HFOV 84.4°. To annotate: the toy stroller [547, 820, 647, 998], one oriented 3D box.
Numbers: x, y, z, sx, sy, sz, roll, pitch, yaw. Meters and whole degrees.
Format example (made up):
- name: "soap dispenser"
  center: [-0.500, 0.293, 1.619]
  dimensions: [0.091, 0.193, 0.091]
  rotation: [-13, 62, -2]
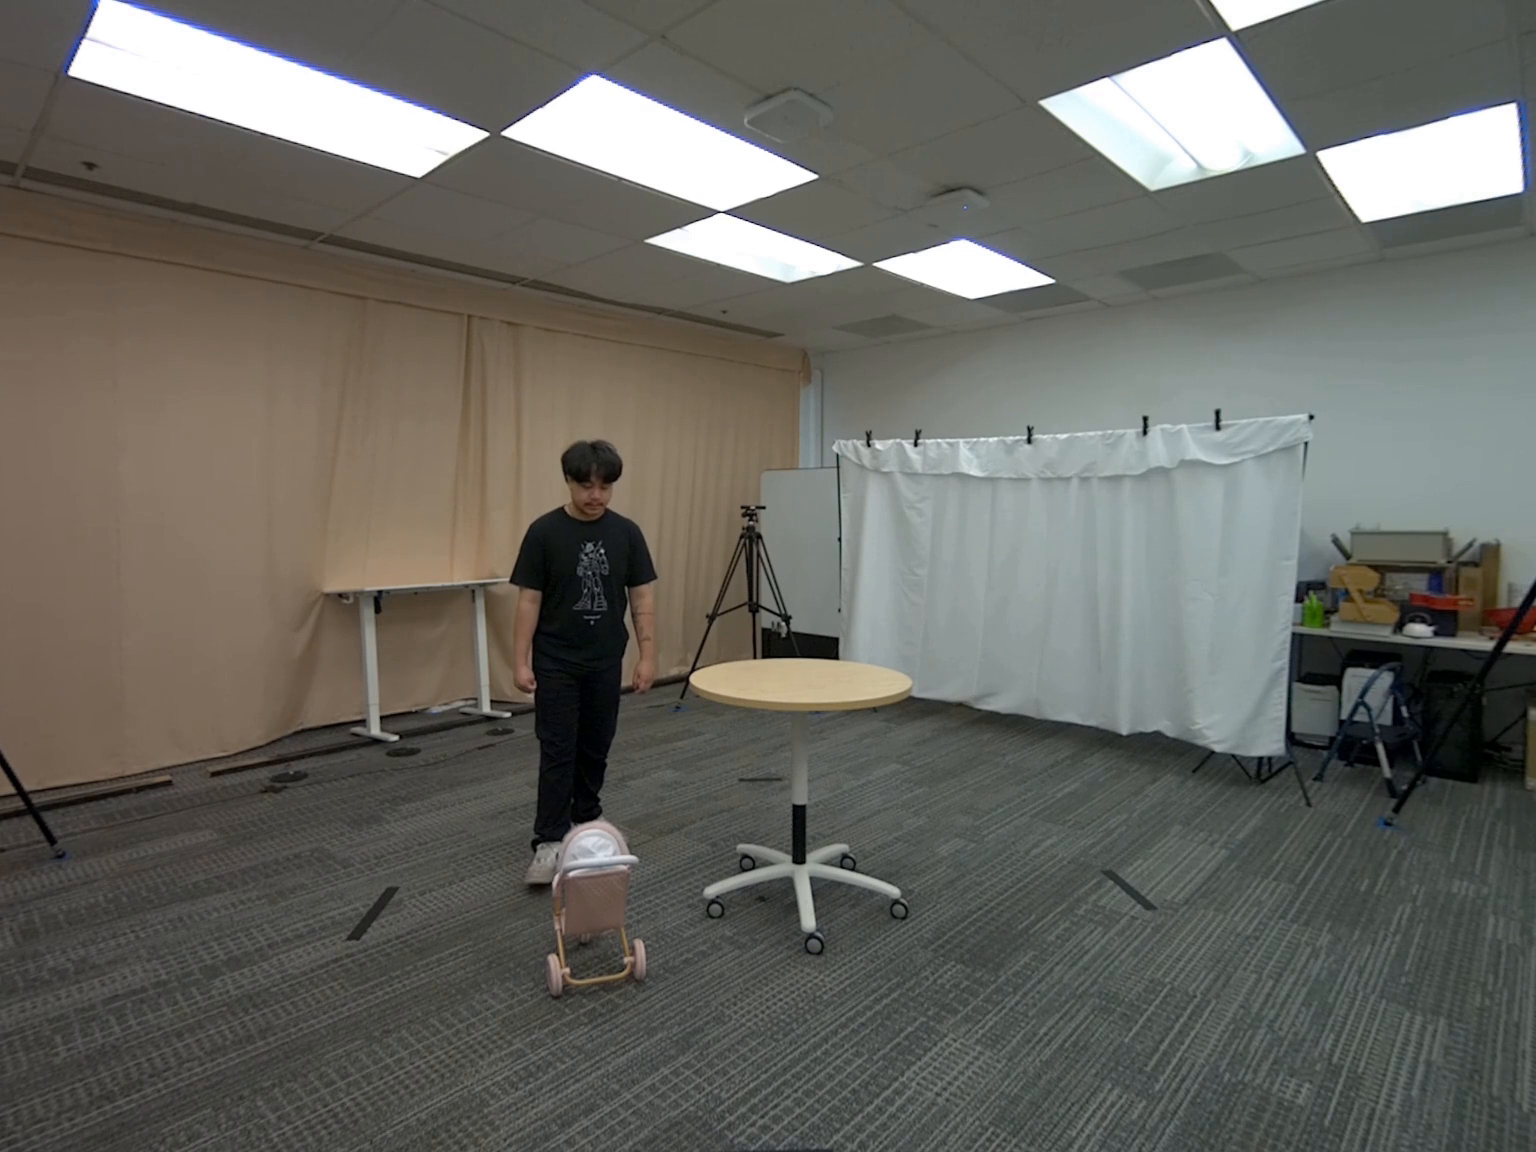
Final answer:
- name: "toy stroller"
  center: [-0.520, 0.965, 2.499]
  dimensions: [0.277, 0.530, 0.350]
  rotation: [-1, 18, -16]
